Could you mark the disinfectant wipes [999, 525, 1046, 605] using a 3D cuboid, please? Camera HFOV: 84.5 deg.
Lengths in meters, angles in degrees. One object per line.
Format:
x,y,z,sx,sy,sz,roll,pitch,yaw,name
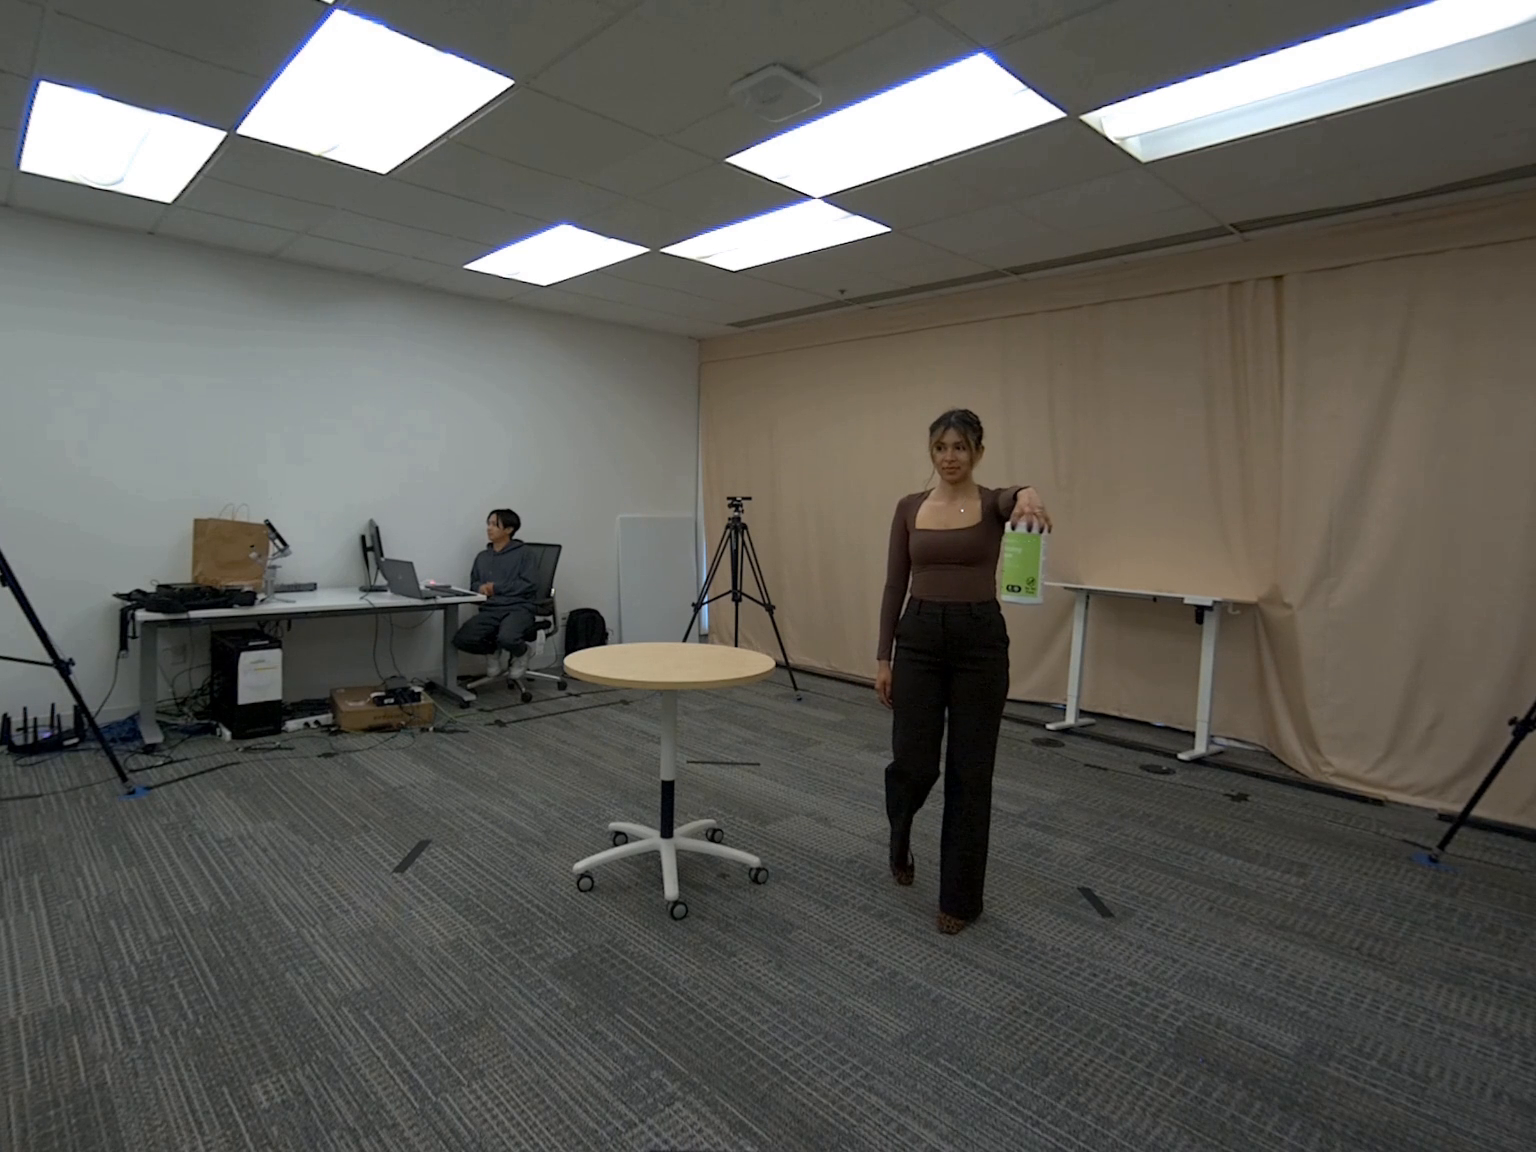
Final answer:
0.669,-0.031,2.250,0.118,0.217,0.118,2,3,-1,disinfectant wipes
